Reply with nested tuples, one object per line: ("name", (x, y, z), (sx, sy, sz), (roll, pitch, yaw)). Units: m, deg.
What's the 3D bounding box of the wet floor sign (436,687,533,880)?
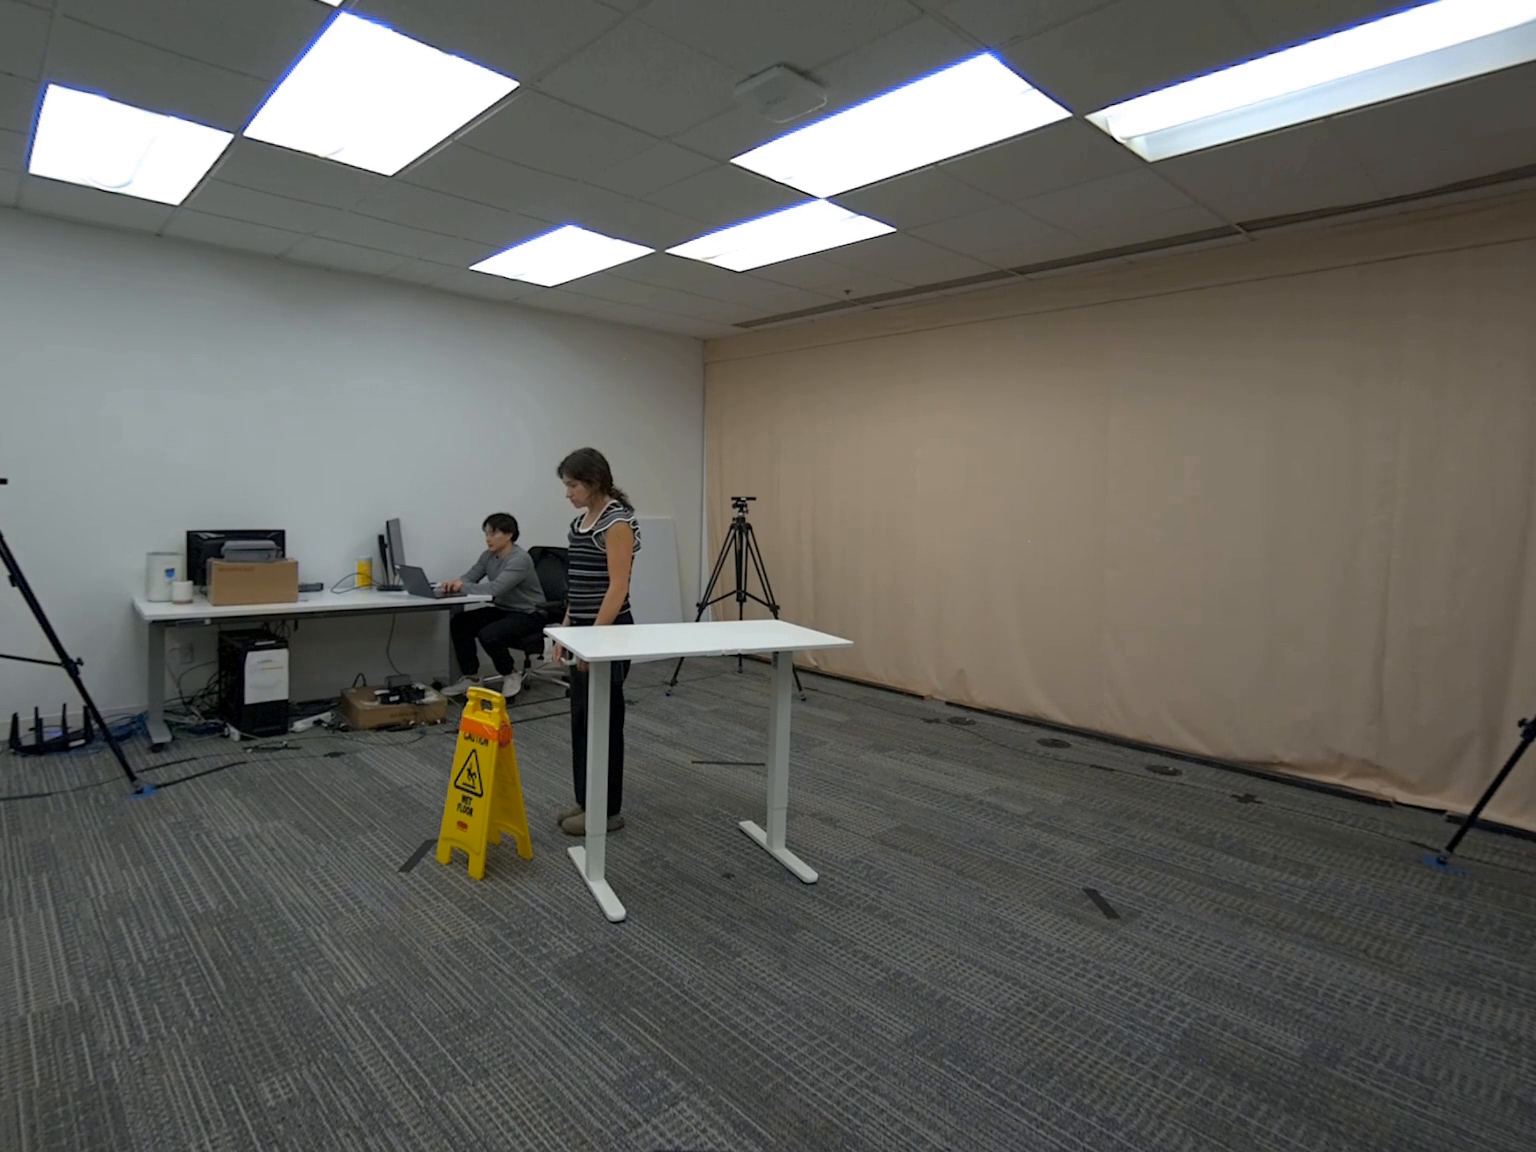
("wet floor sign", (-1.082, 0.758, 3.182), (0.289, 0.645, 0.283), (4, 4, 36))
